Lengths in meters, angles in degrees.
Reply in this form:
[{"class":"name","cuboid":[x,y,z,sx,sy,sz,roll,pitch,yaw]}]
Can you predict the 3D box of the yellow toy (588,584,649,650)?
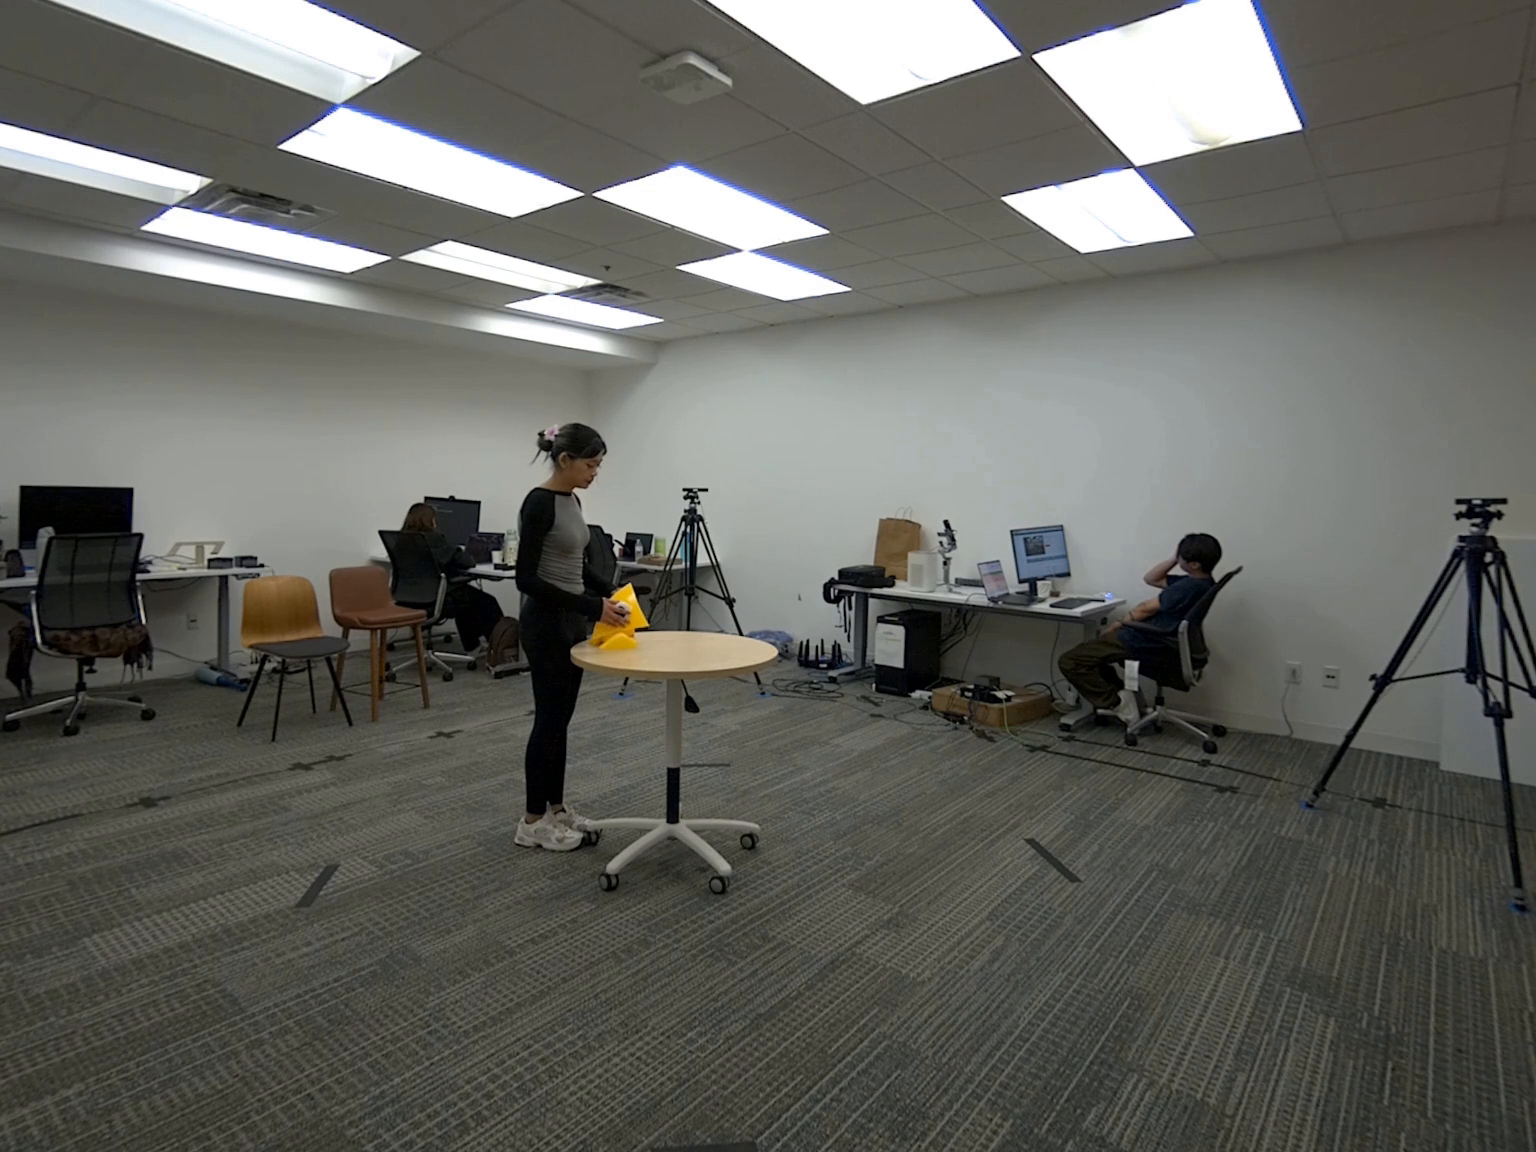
[{"class":"yellow toy","cuboid":[-0.594,0.147,3.233,0.188,0.230,0.211,-2,5,-34]}]
